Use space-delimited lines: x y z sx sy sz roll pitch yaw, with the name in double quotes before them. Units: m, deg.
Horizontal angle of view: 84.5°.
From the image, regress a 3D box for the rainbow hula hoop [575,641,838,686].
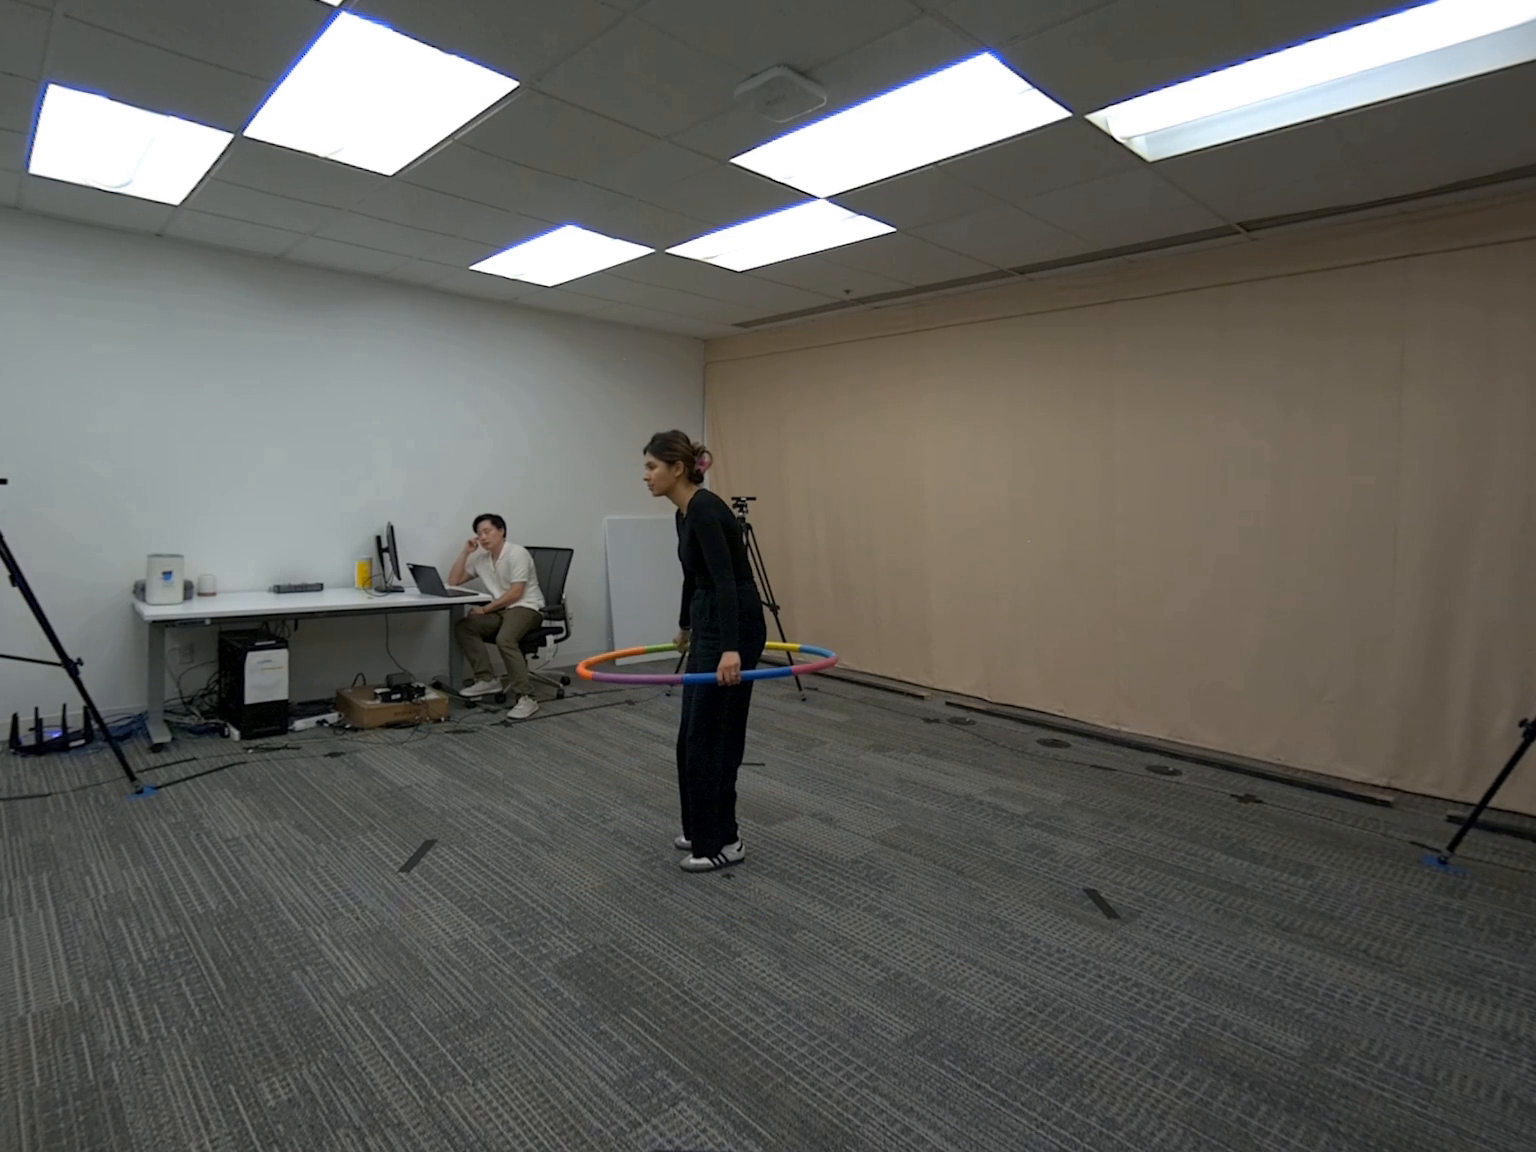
"rainbow hula hoop" -0.236 0.325 3.237 0.978 0.035 0.979 -2 2 -1
